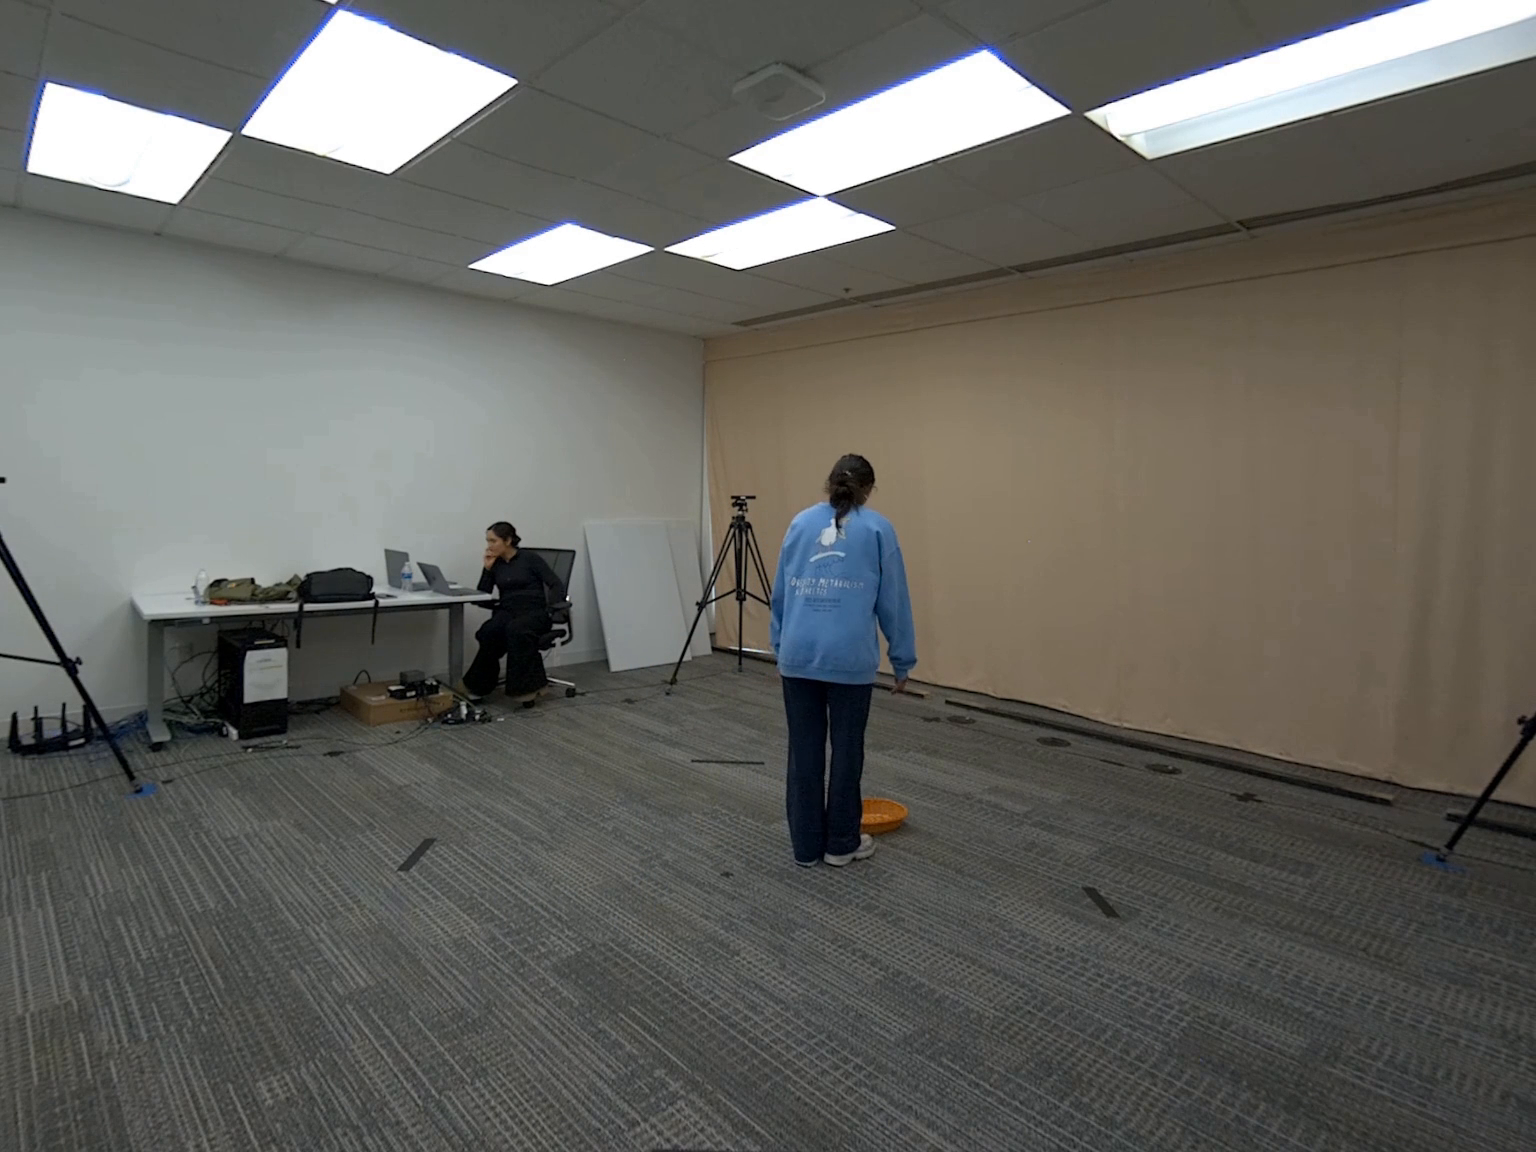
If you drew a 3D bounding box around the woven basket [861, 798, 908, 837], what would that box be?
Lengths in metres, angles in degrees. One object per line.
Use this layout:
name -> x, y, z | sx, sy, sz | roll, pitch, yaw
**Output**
woven basket -> 0.421, 1.028, 3.605 | 0.344, 0.073, 0.258 | 0, 7, -23
